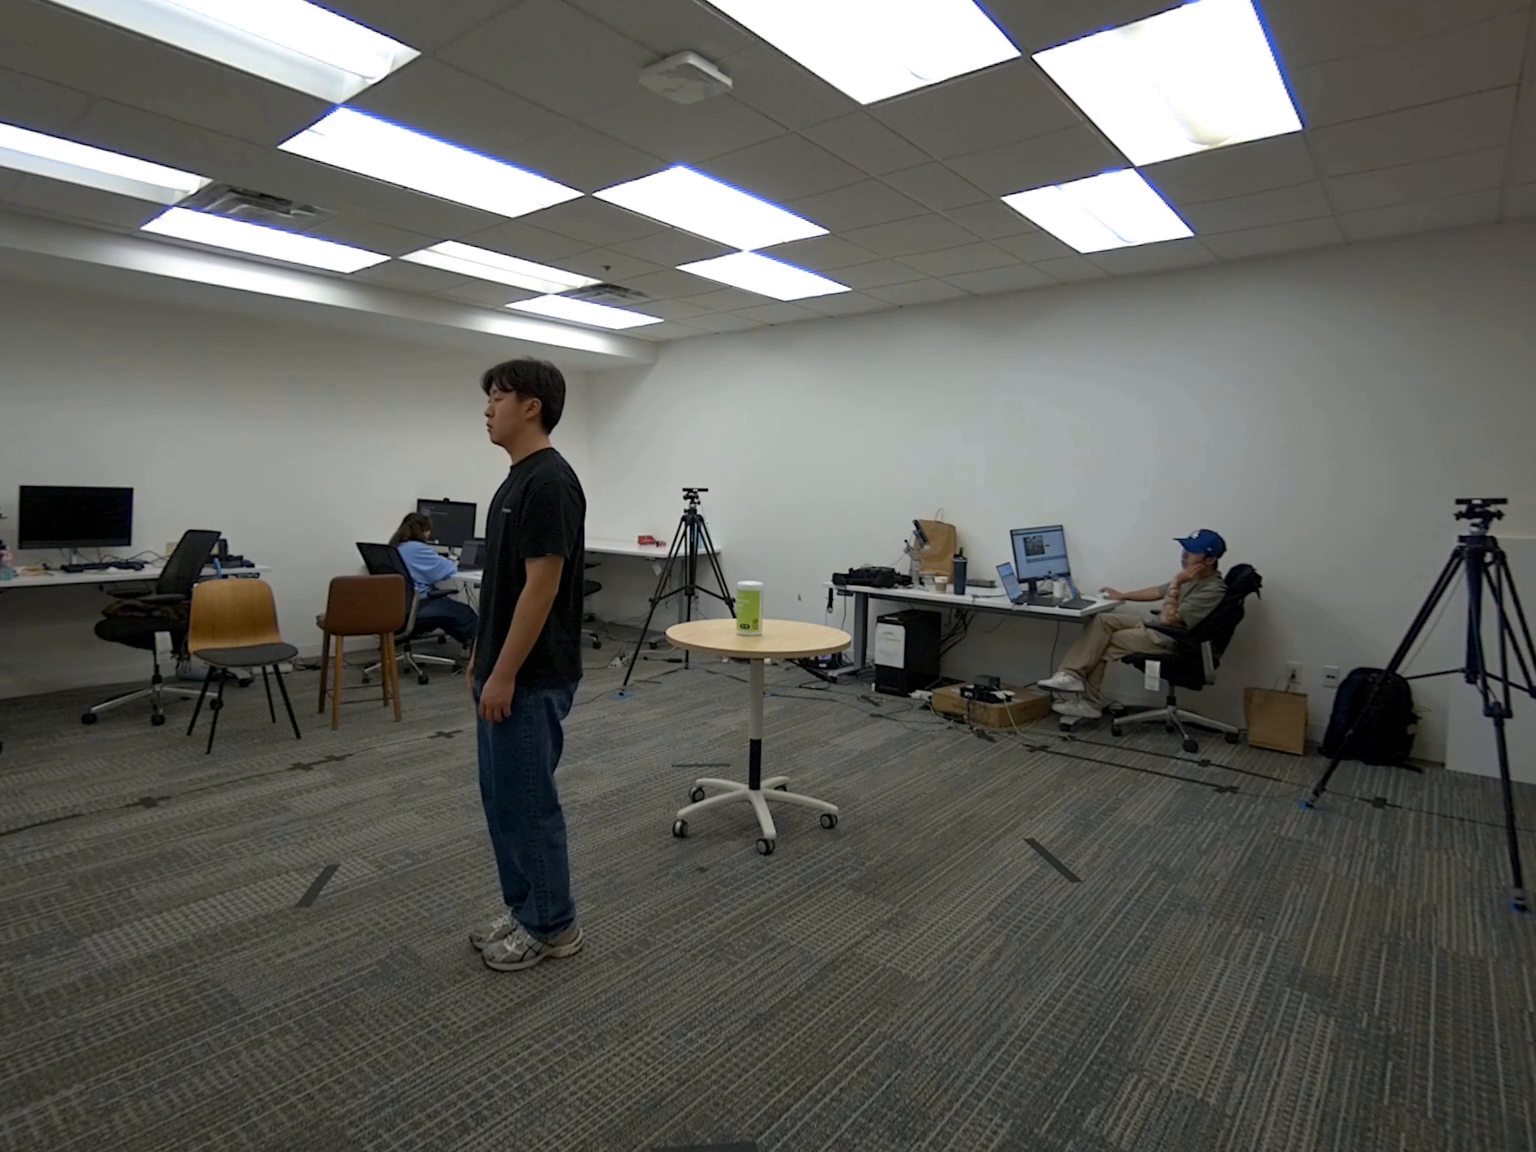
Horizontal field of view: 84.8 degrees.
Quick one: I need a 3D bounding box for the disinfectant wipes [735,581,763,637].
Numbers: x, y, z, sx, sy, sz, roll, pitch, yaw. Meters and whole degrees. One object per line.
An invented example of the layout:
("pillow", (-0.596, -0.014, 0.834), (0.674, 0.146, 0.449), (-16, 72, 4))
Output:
("disinfectant wipes", (-0.085, 0.132, 3.511), (0.117, 0.217, 0.118), (1, 4, -2))
